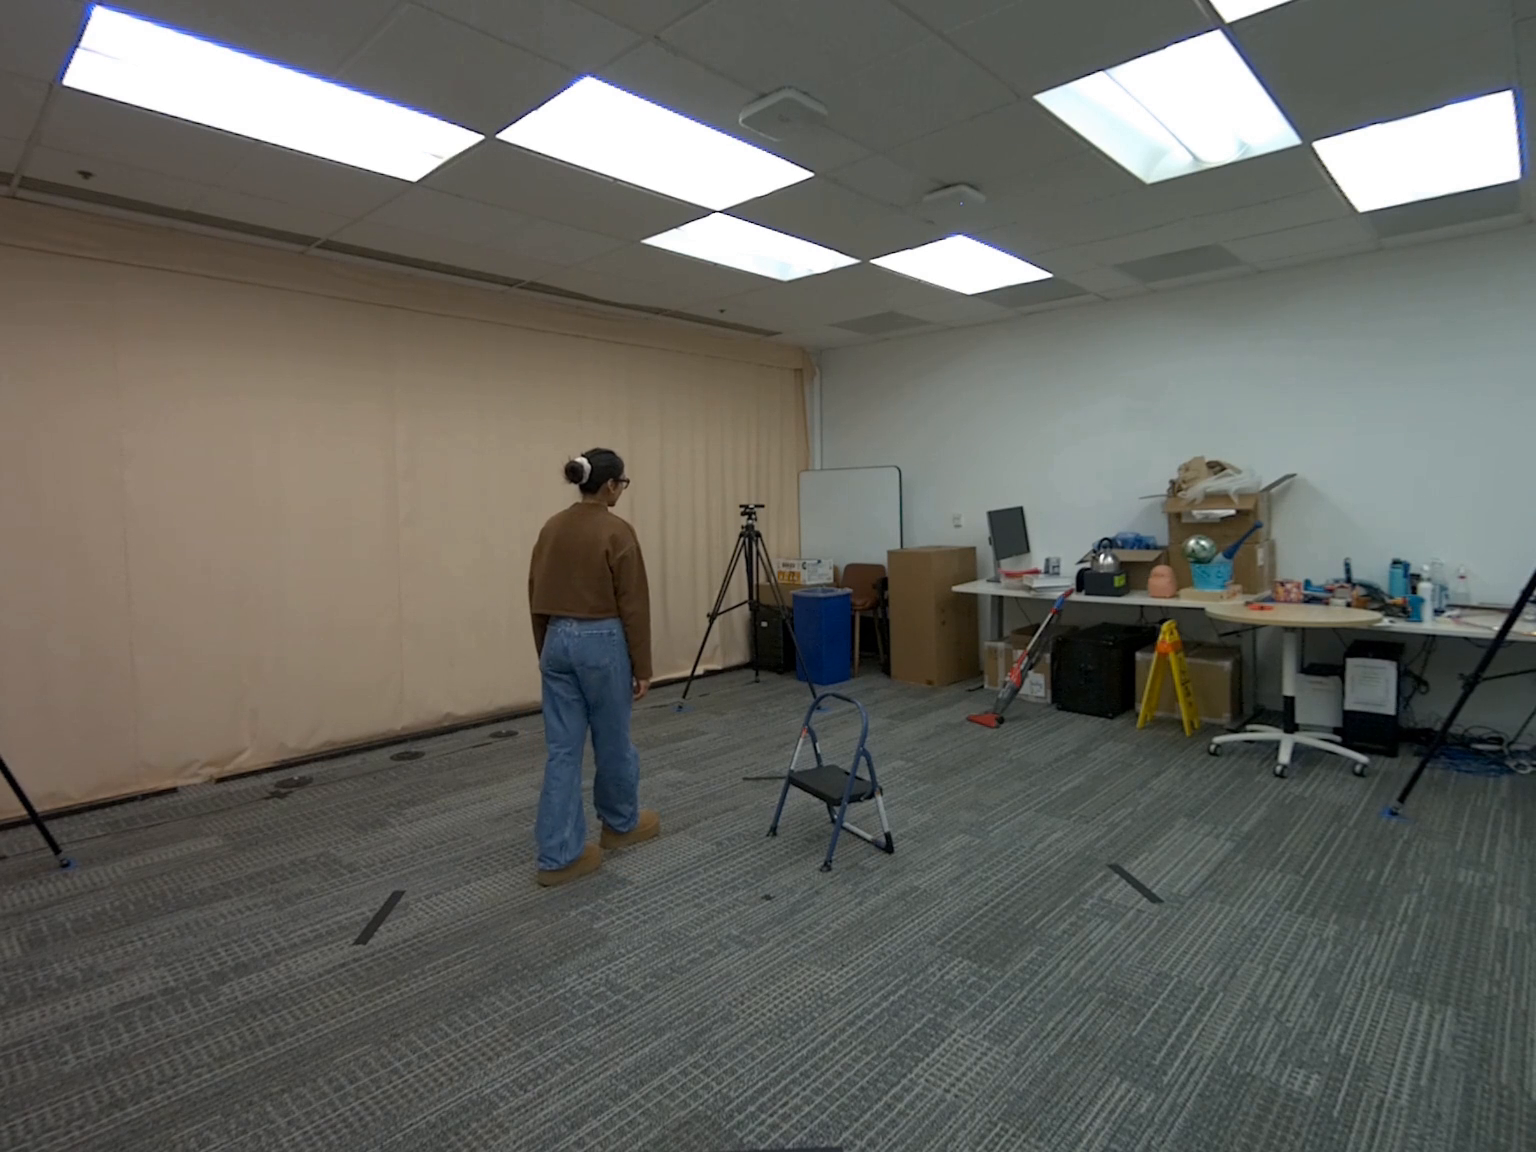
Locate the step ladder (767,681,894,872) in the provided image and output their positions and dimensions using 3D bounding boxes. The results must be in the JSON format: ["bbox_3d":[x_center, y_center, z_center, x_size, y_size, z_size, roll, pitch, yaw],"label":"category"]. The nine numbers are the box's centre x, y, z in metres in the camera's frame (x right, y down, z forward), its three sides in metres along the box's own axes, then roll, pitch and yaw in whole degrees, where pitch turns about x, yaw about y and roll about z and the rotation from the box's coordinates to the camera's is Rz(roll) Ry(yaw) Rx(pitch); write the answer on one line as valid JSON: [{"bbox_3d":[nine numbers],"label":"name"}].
[{"bbox_3d":[0.255,0.793,3.426,0.340,0.605,0.443,-2,4,-30],"label":"step ladder"}]
